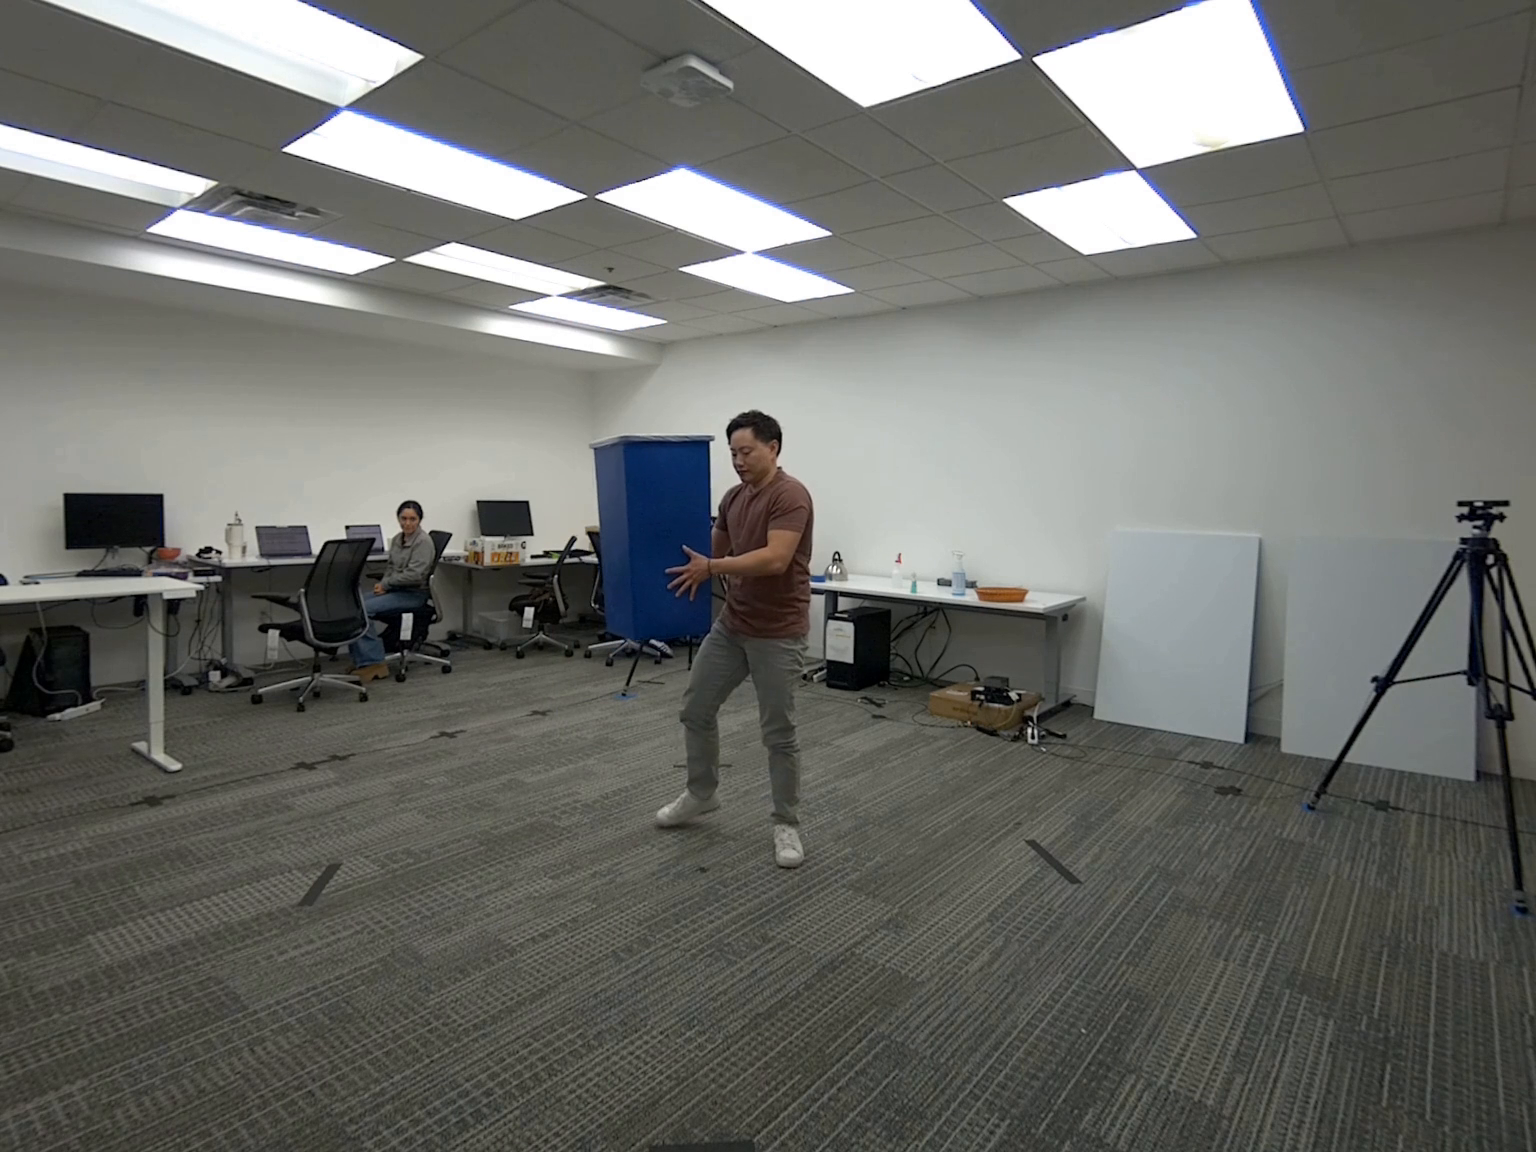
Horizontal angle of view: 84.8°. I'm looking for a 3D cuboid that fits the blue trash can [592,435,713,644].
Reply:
[{"bbox_3d":[-0.437,-0.151,3.122,0.365,0.712,0.388,-3,2,-29],"label":"blue trash can"}]
